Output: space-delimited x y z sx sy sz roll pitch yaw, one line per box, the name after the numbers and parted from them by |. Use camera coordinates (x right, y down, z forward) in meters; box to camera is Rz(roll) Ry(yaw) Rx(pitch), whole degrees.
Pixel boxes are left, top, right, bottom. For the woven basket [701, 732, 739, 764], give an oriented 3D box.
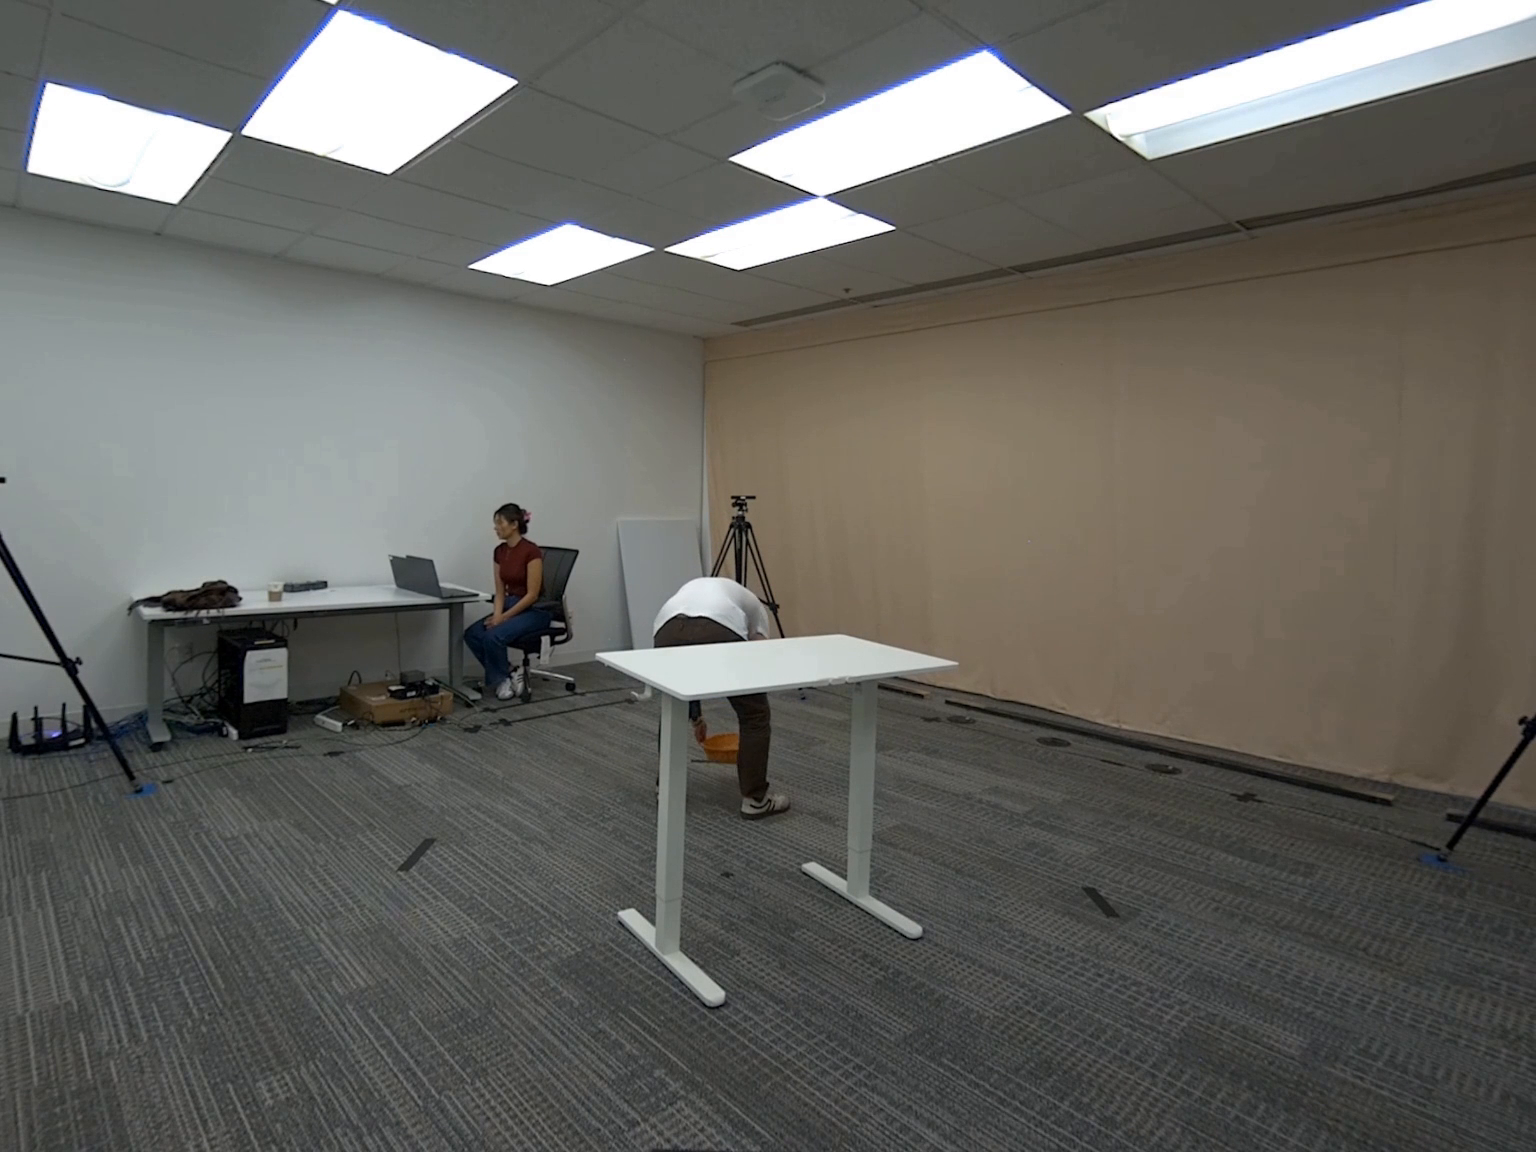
-0.197 0.829 4.072 0.256 0.073 0.346 0 2 17 | woven basket
